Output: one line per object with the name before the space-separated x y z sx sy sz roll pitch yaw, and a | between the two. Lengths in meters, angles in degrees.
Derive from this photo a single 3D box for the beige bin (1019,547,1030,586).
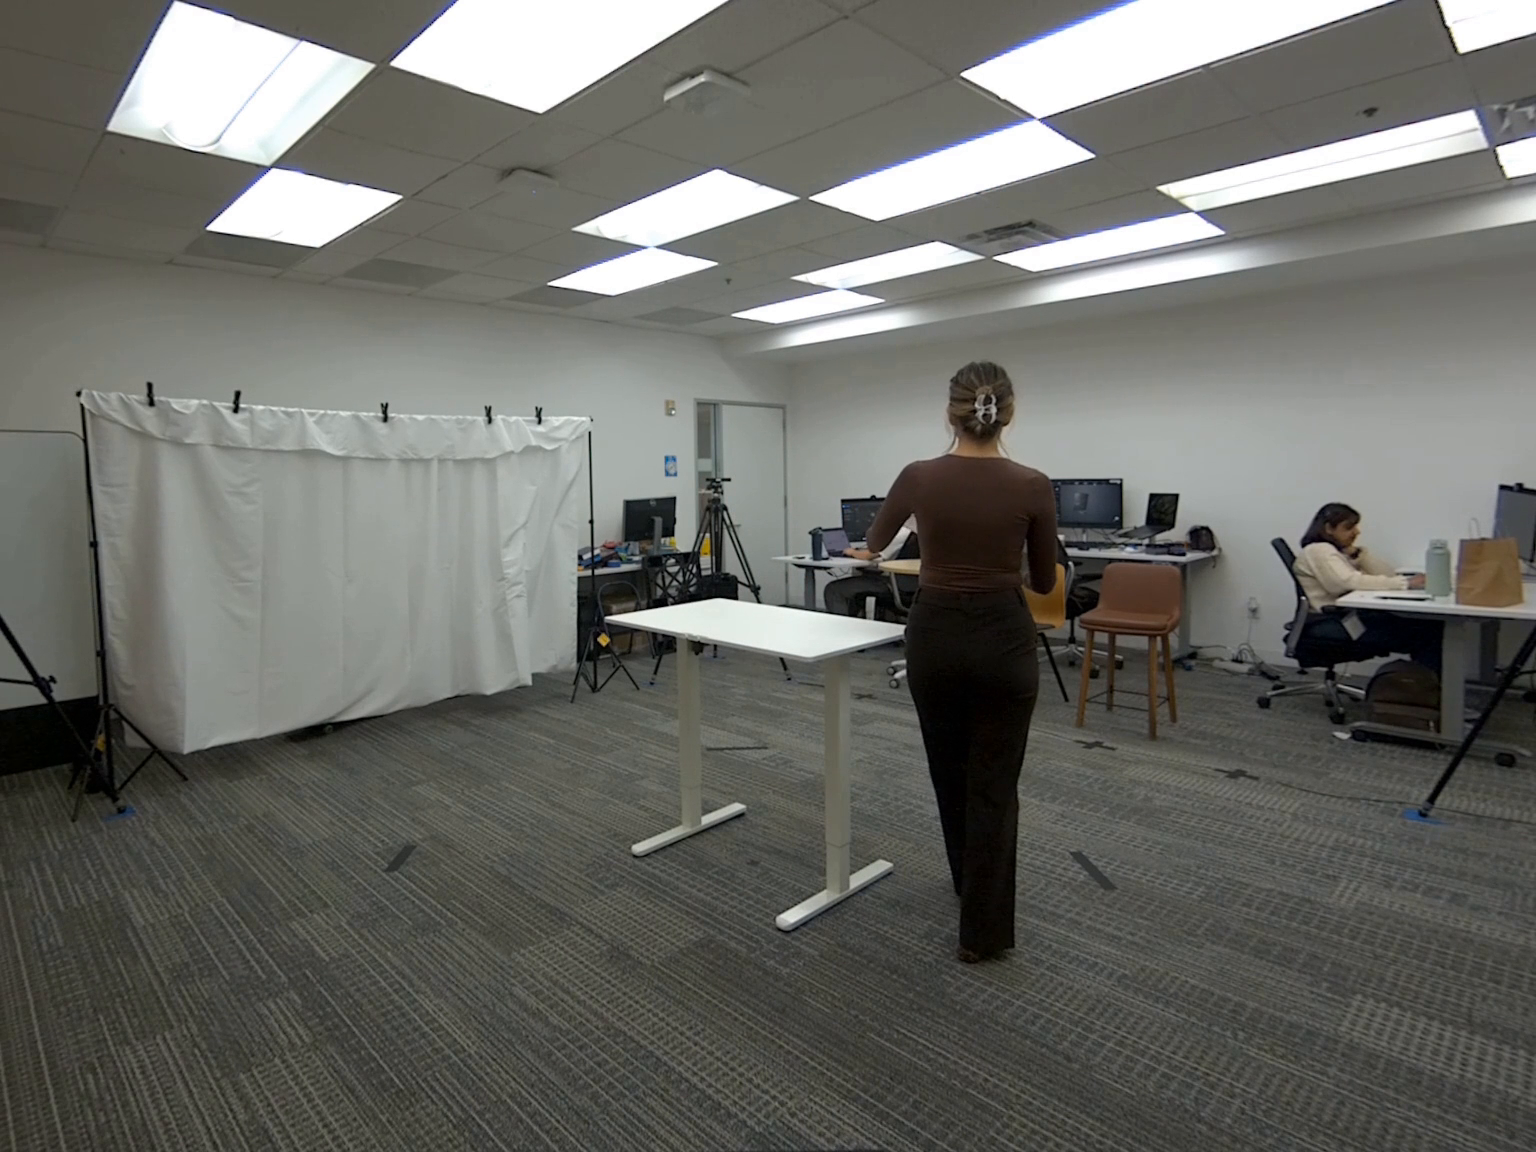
beige bin | 0.690 -0.175 2.910 0.414 0.188 0.386 23 6 -17
